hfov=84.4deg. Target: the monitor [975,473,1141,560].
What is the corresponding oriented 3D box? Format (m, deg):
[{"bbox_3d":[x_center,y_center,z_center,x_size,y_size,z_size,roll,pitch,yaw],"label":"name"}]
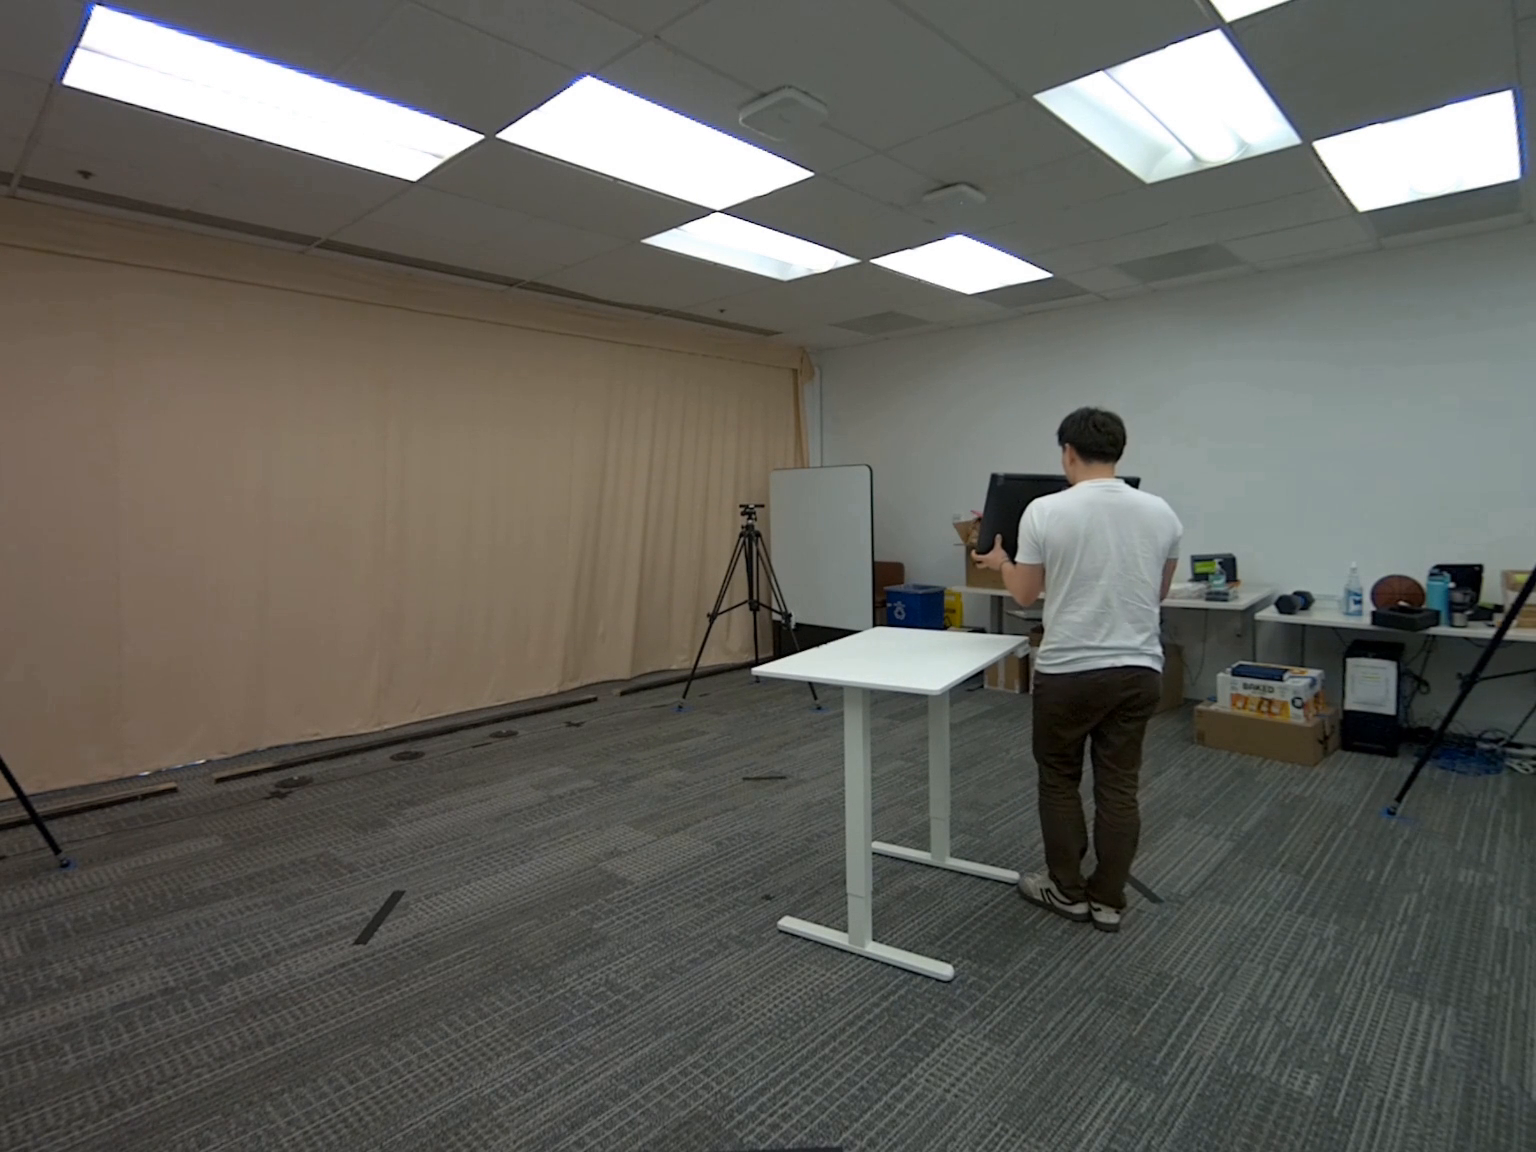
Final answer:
[{"bbox_3d":[1.053,-0.105,3.007,0.536,0.519,0.189,2,11,-5],"label":"monitor"}]
